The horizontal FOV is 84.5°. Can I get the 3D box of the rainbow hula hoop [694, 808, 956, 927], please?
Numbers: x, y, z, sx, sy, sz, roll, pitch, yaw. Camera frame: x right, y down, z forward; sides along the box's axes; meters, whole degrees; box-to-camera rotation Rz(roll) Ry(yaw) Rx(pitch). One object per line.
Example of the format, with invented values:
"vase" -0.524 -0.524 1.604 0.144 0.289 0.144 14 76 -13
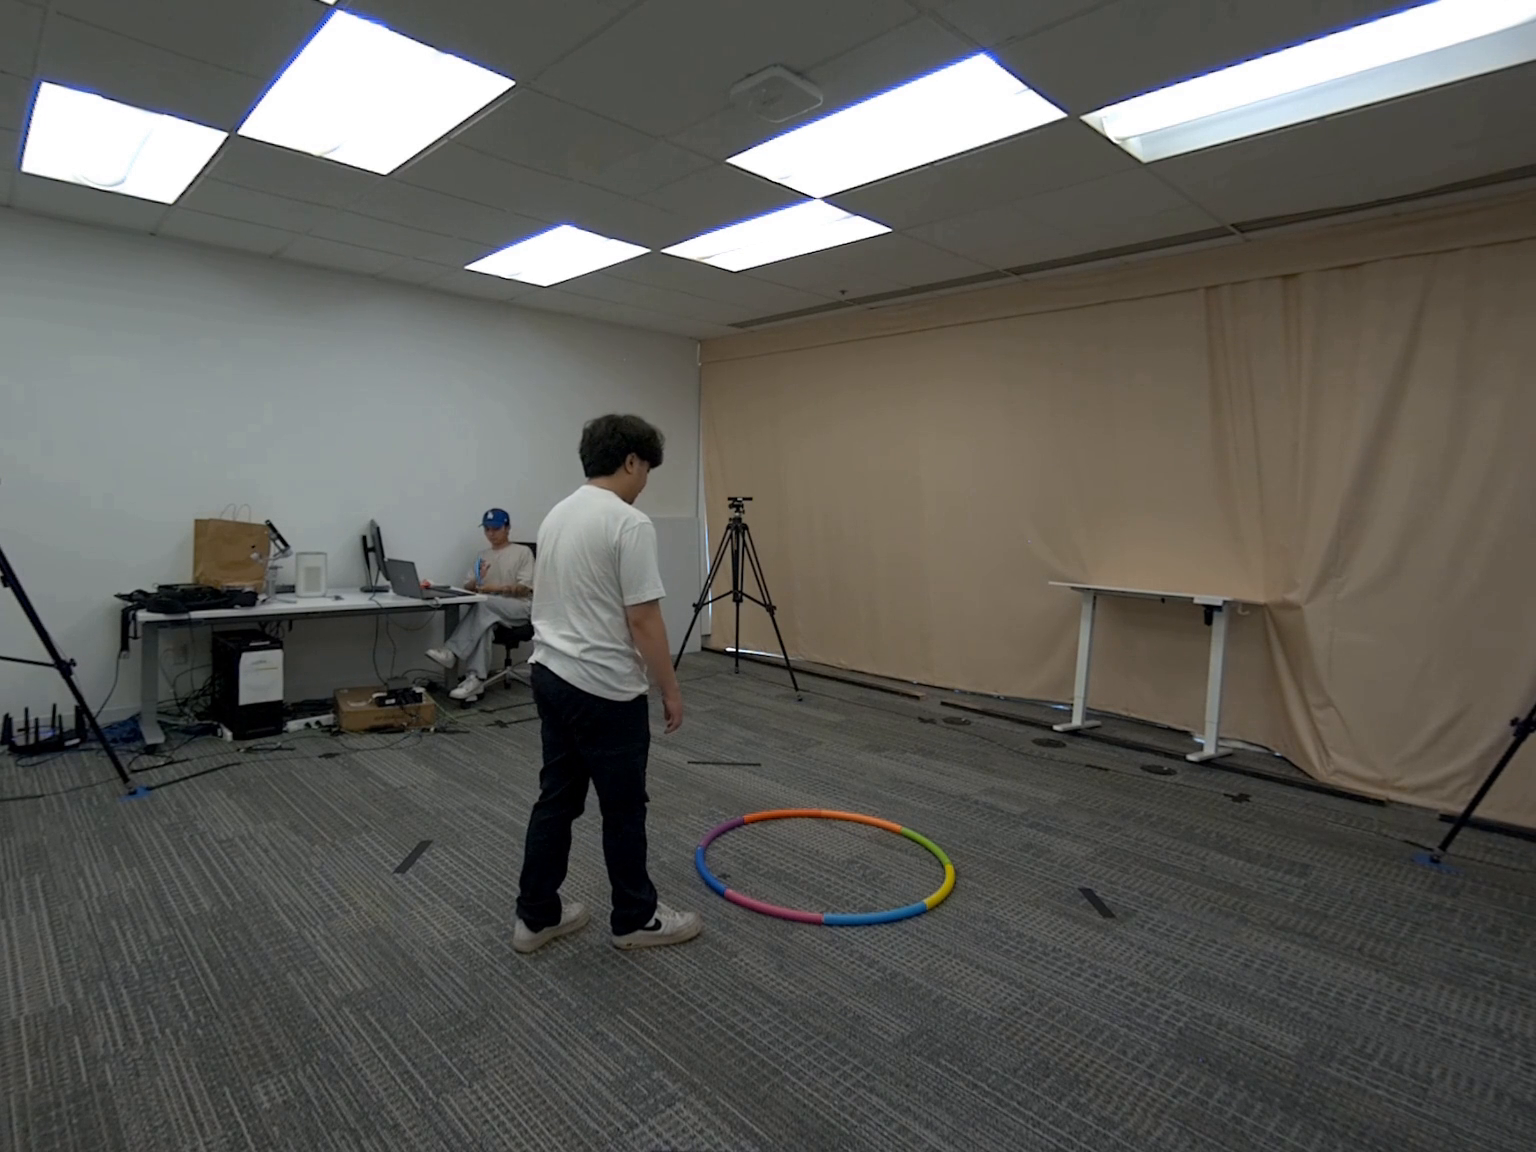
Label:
"rainbow hula hoop" 0.204 1.077 3.241 0.985 0.051 0.989 1 6 -1
